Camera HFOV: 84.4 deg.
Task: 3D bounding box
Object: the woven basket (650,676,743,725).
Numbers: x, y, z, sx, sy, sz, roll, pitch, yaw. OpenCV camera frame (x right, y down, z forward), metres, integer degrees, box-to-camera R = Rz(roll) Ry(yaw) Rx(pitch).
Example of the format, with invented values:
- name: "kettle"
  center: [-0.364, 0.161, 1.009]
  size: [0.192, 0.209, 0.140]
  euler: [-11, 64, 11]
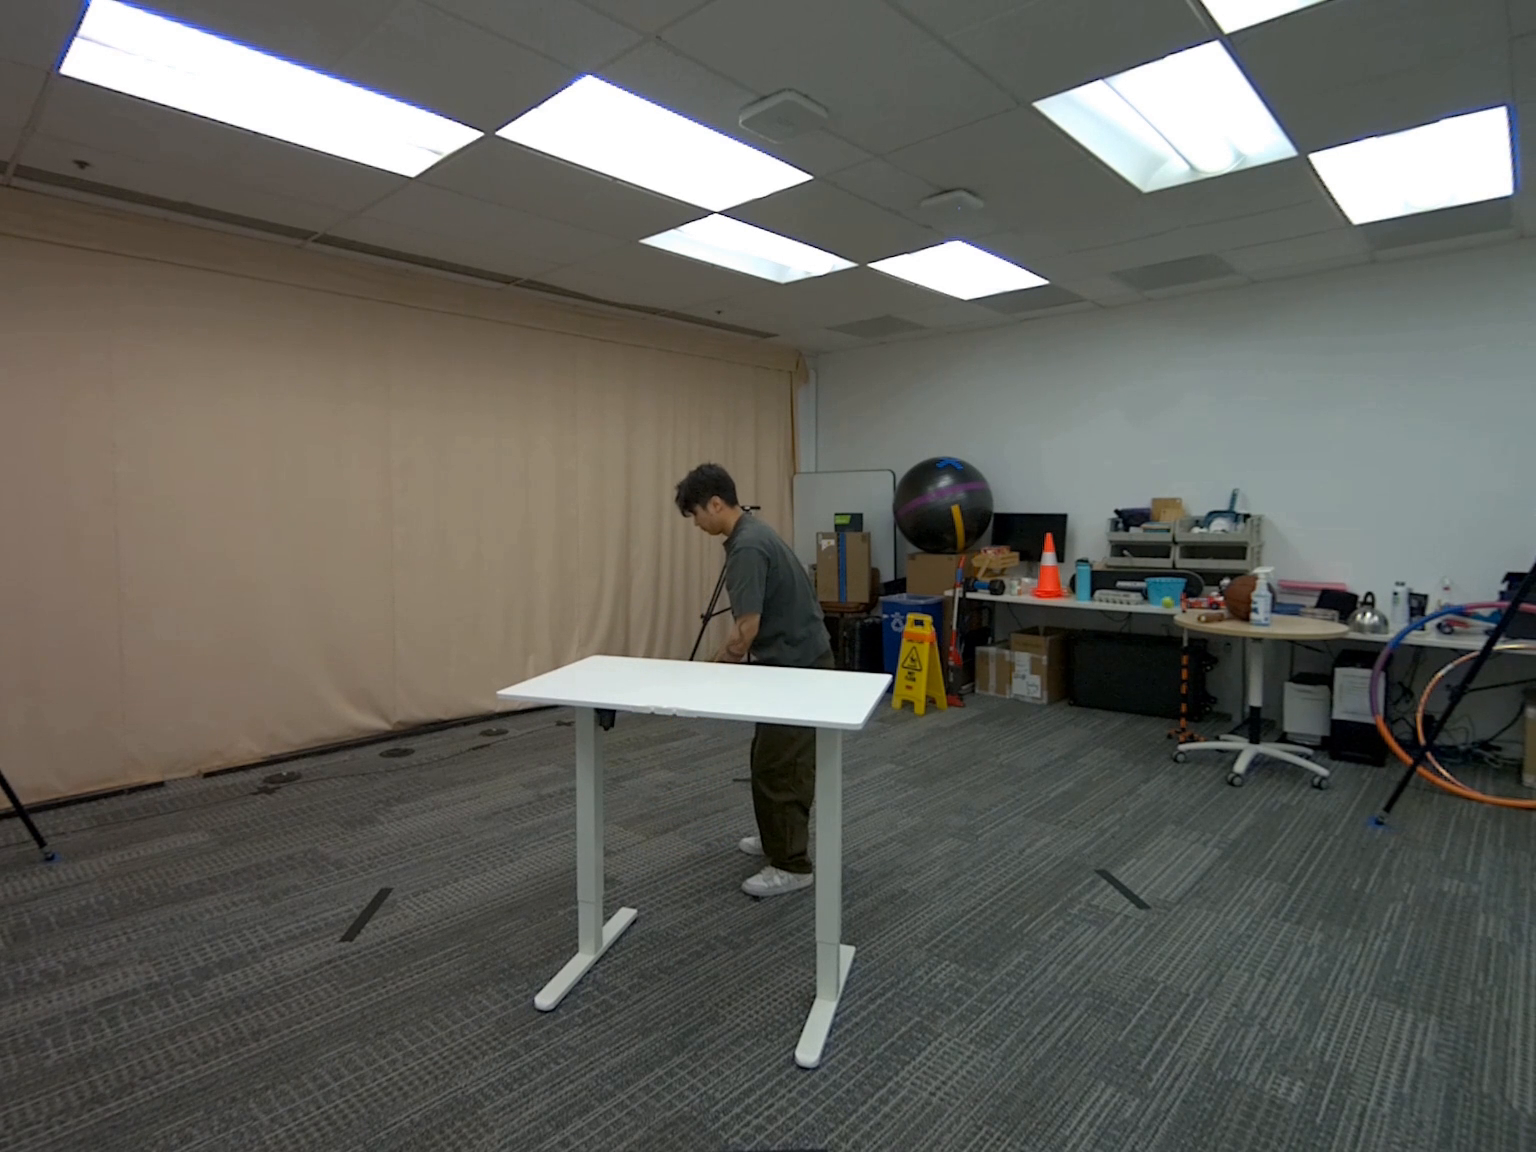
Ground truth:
- name: "woven basket"
  center: [-0.268, 0.469, 3.228]
  size: [0.256, 0.073, 0.346]
  euler: [-12, 1, 13]
